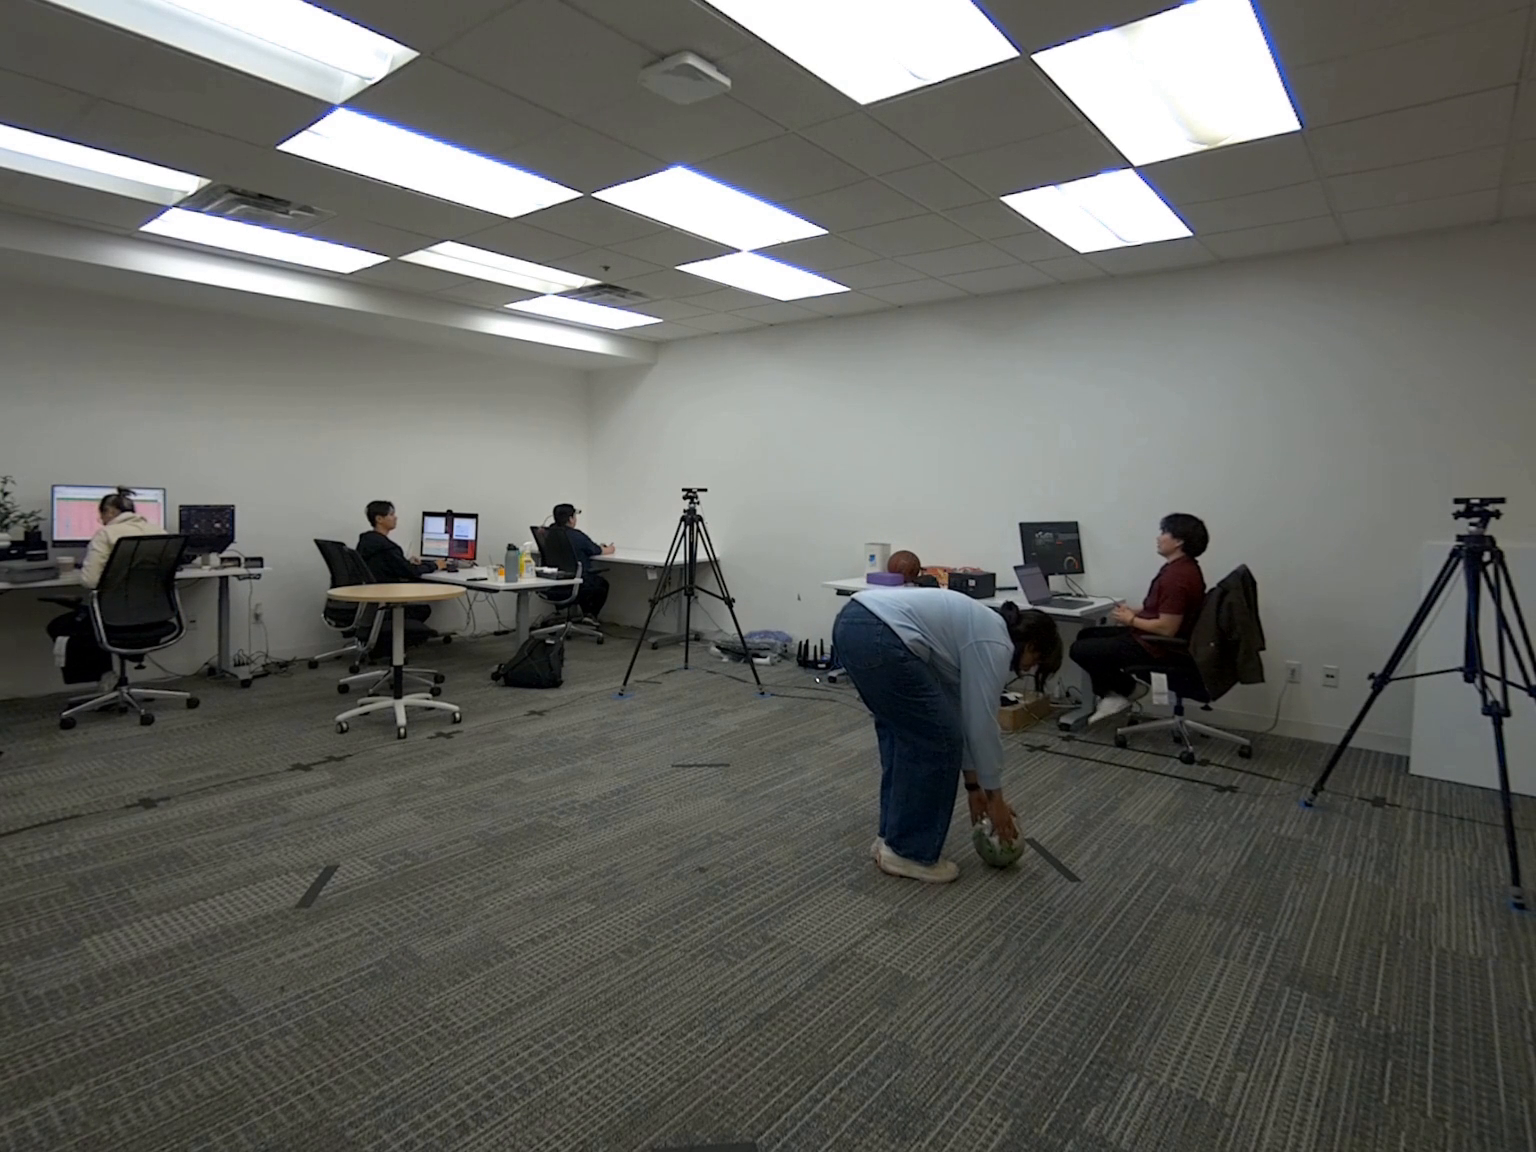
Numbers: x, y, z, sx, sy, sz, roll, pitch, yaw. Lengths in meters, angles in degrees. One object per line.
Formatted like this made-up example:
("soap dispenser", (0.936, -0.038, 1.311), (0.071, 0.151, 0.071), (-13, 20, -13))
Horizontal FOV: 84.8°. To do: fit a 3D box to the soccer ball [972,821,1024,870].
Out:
("soccer ball", (0.862, 0.995, 3.204), (0.187, 0.187, 0.188), (1, 4, -2))
